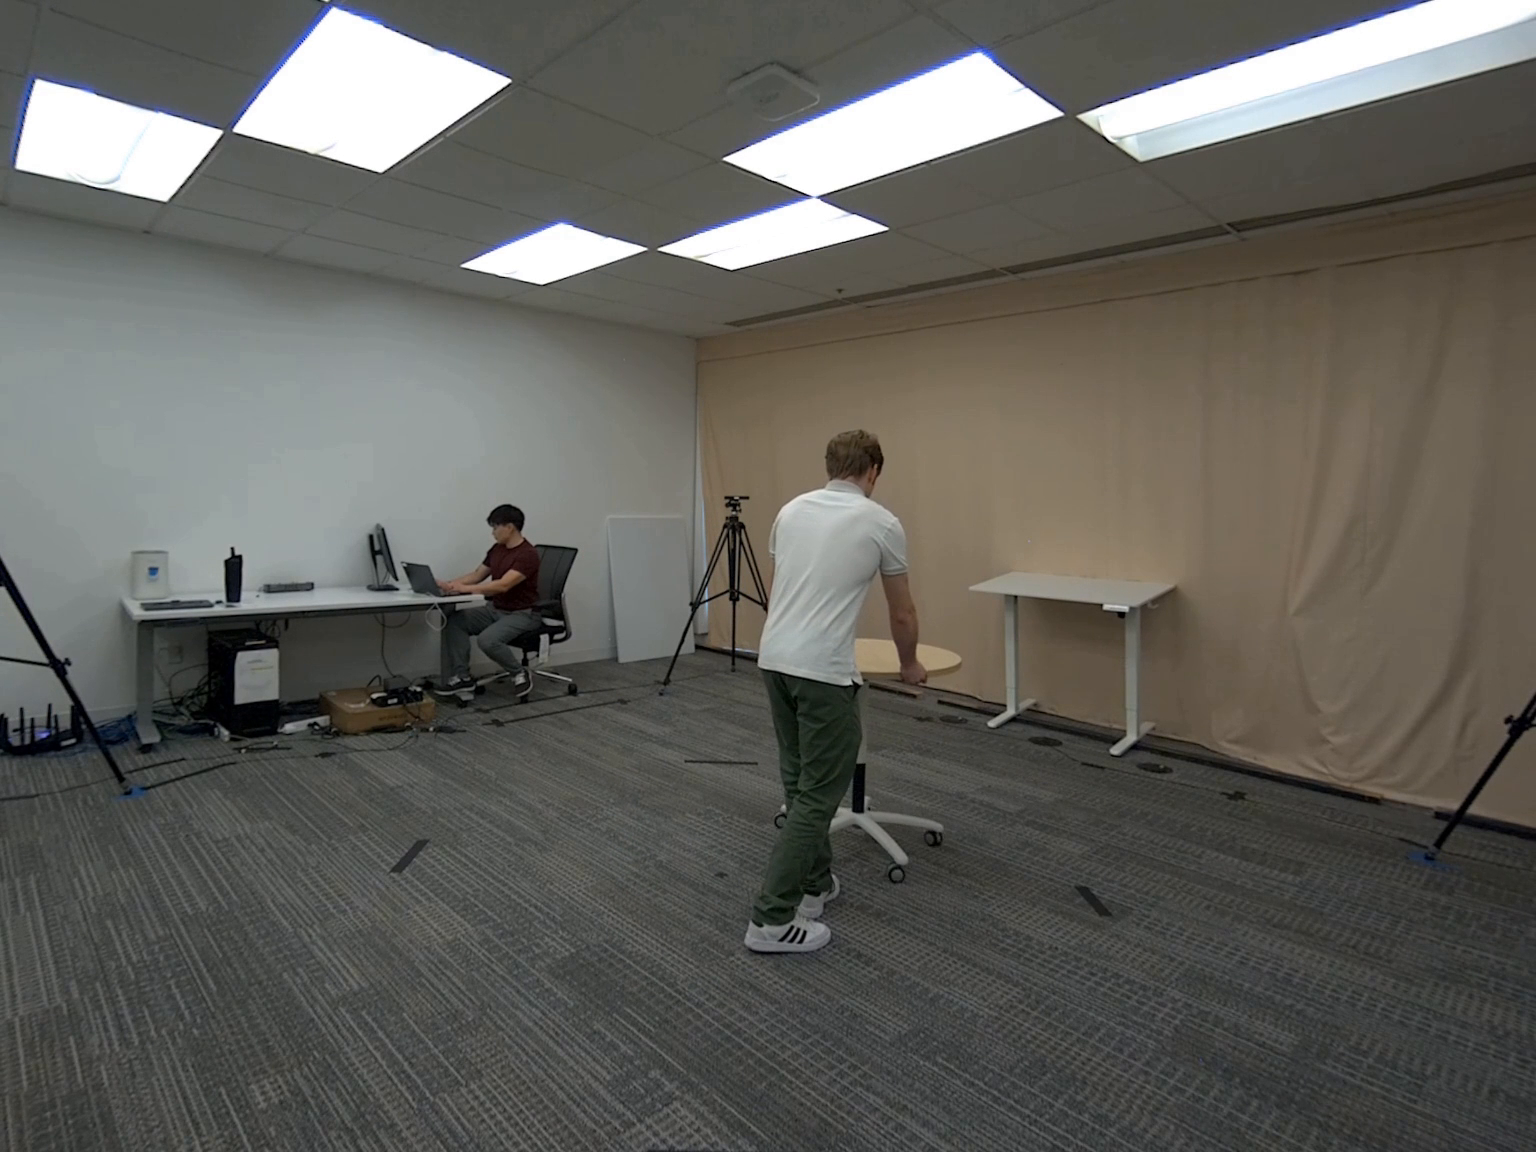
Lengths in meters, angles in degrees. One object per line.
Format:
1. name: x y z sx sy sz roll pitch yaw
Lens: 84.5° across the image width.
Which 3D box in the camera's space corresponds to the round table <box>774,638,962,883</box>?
1. round table: 0.358 0.697 3.364 0.784 0.785 0.787 1 3 -1
